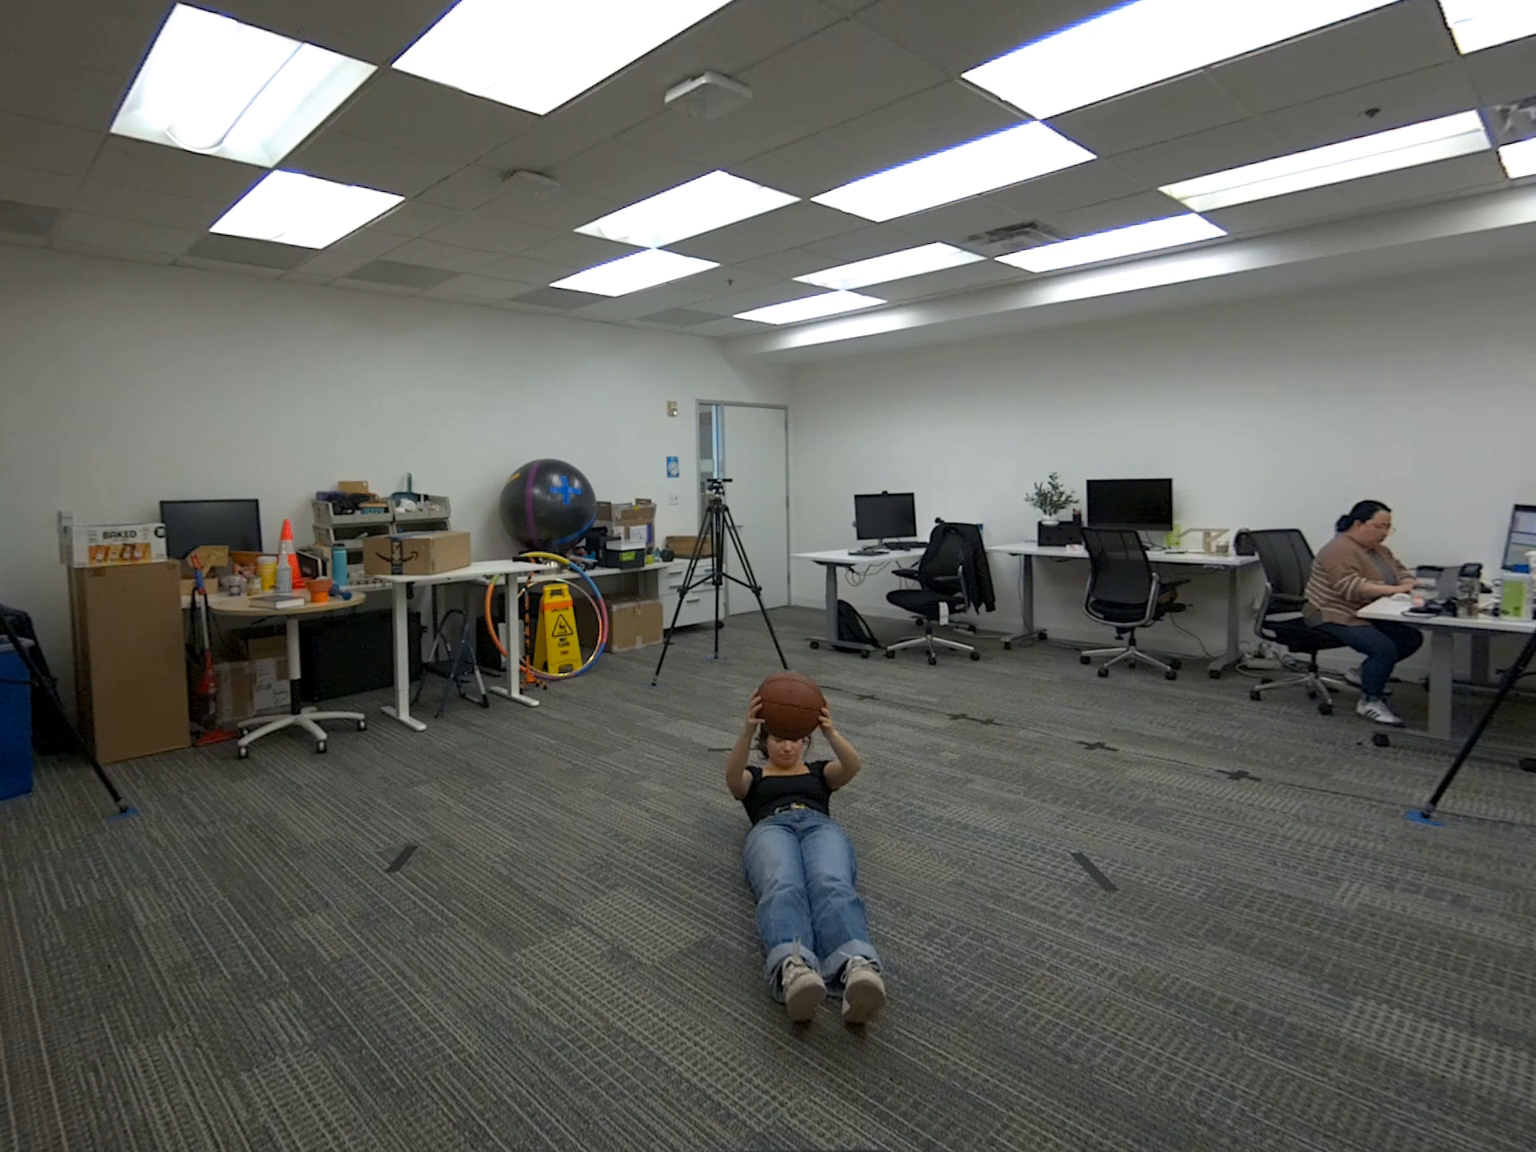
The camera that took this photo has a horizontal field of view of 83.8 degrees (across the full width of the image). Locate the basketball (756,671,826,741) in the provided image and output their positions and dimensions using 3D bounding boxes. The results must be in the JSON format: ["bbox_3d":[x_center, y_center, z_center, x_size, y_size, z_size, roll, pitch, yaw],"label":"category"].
[{"bbox_3d":[0.072,0.440,2.956,0.236,0.235,0.237,-1,5,-2],"label":"basketball"}]
